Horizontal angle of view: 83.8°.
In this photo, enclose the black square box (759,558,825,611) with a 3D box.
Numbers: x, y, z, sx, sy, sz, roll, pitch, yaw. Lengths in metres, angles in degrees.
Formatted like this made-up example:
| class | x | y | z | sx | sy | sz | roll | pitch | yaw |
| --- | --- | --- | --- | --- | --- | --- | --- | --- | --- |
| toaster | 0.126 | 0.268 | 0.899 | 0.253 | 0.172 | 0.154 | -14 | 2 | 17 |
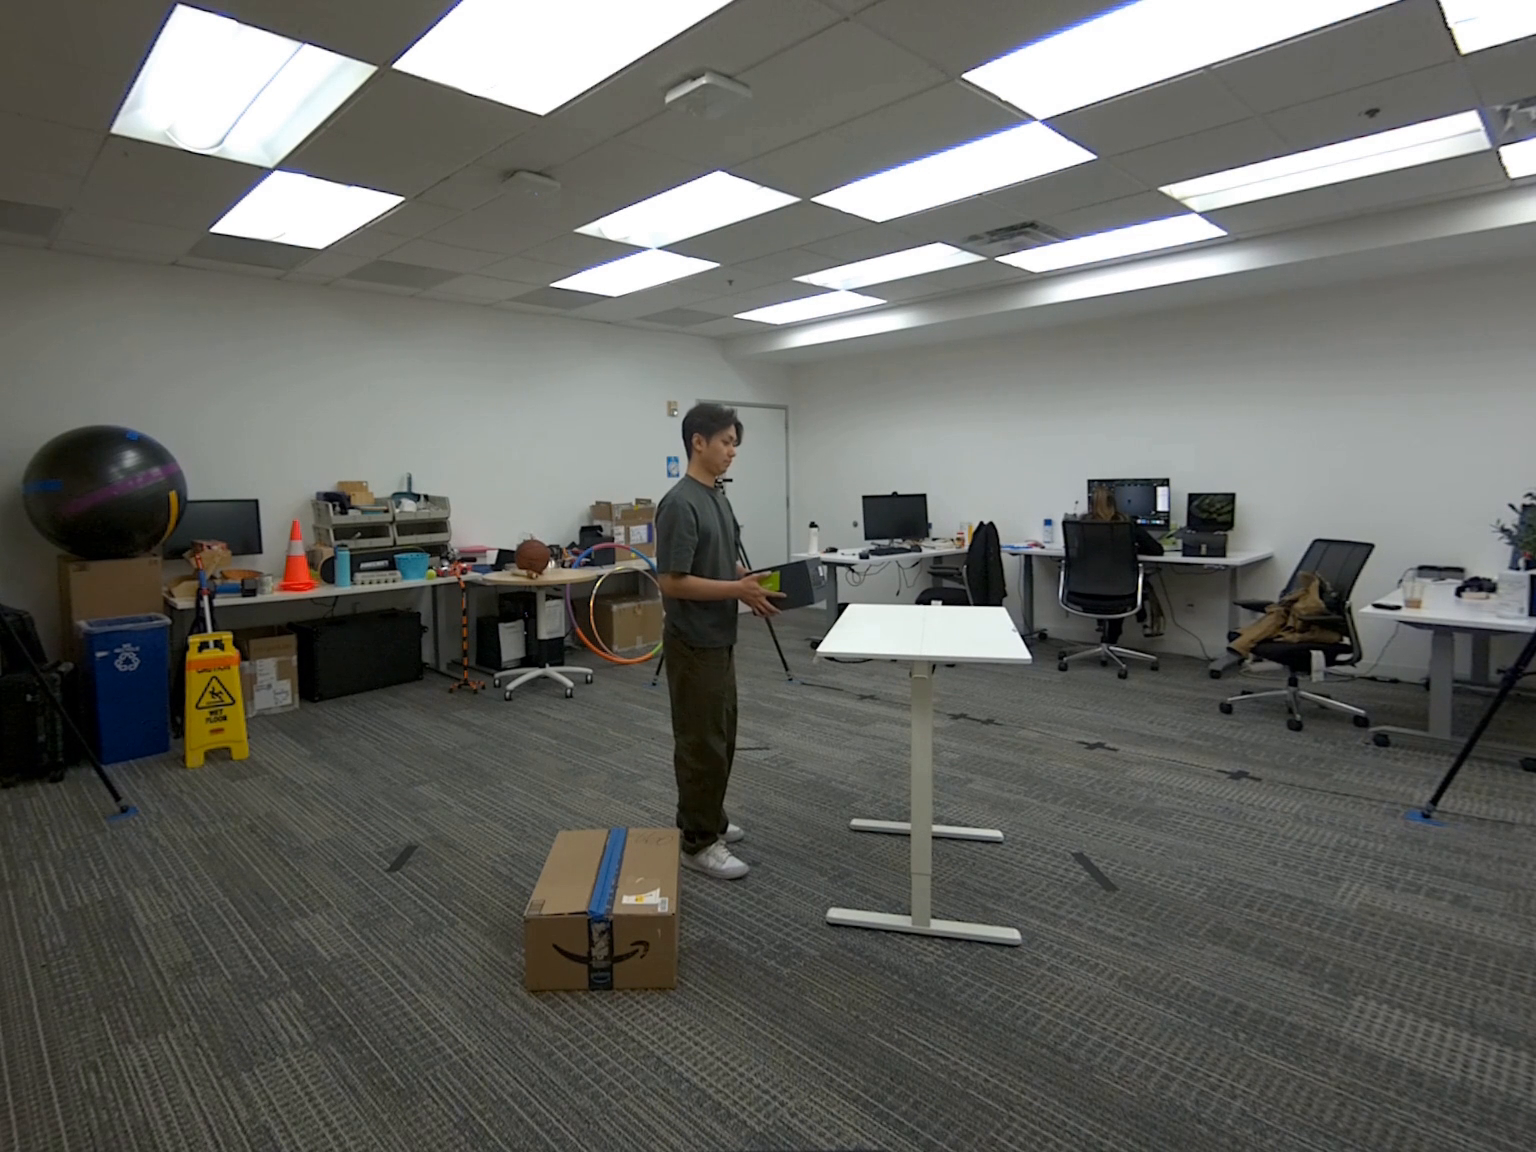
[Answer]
| class | x | y | z | sx | sy | sz | roll | pitch | yaw |
| --- | --- | --- | --- | --- | --- | --- | --- | --- | --- |
| black square box | 0.066 | 0.028 | 3.030 | 0.231 | 0.156 | 0.214 | -9 | 1 | 16 |
